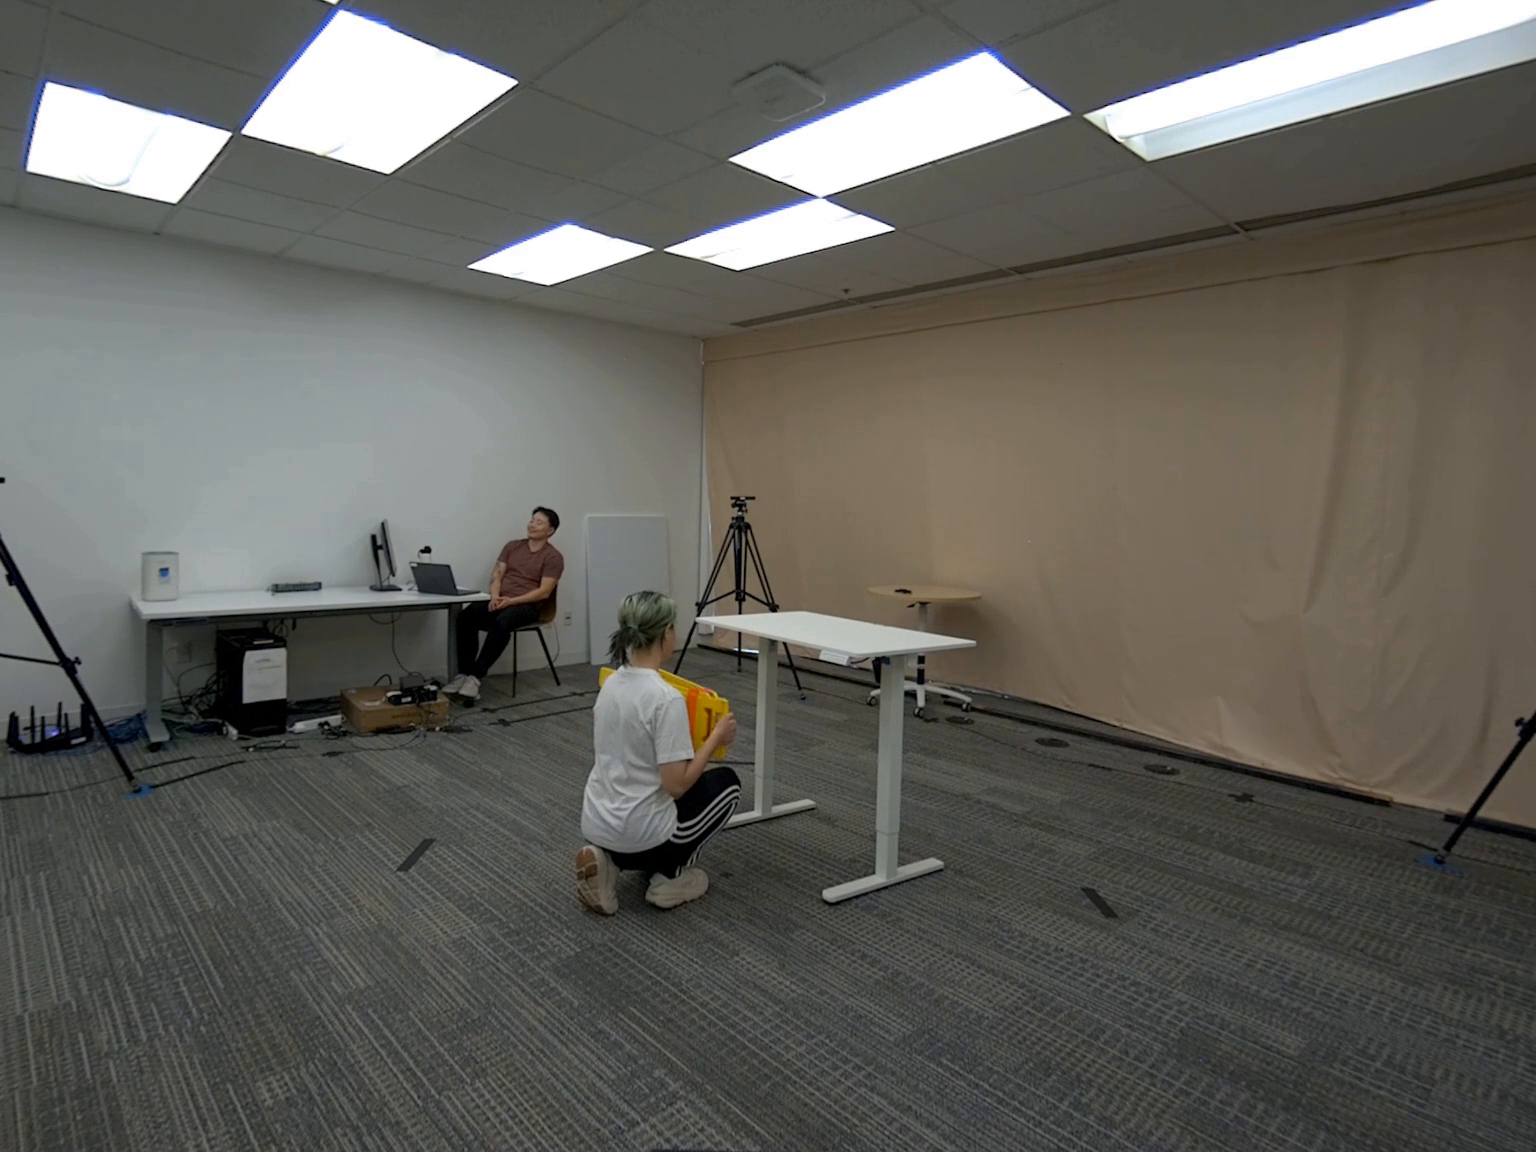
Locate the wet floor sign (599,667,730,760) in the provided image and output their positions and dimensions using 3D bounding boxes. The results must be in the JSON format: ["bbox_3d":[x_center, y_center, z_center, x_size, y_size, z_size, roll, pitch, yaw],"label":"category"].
[{"bbox_3d":[-0.364,0.518,3.119,0.282,0.283,0.661,7,-3,-41],"label":"wet floor sign"}]
